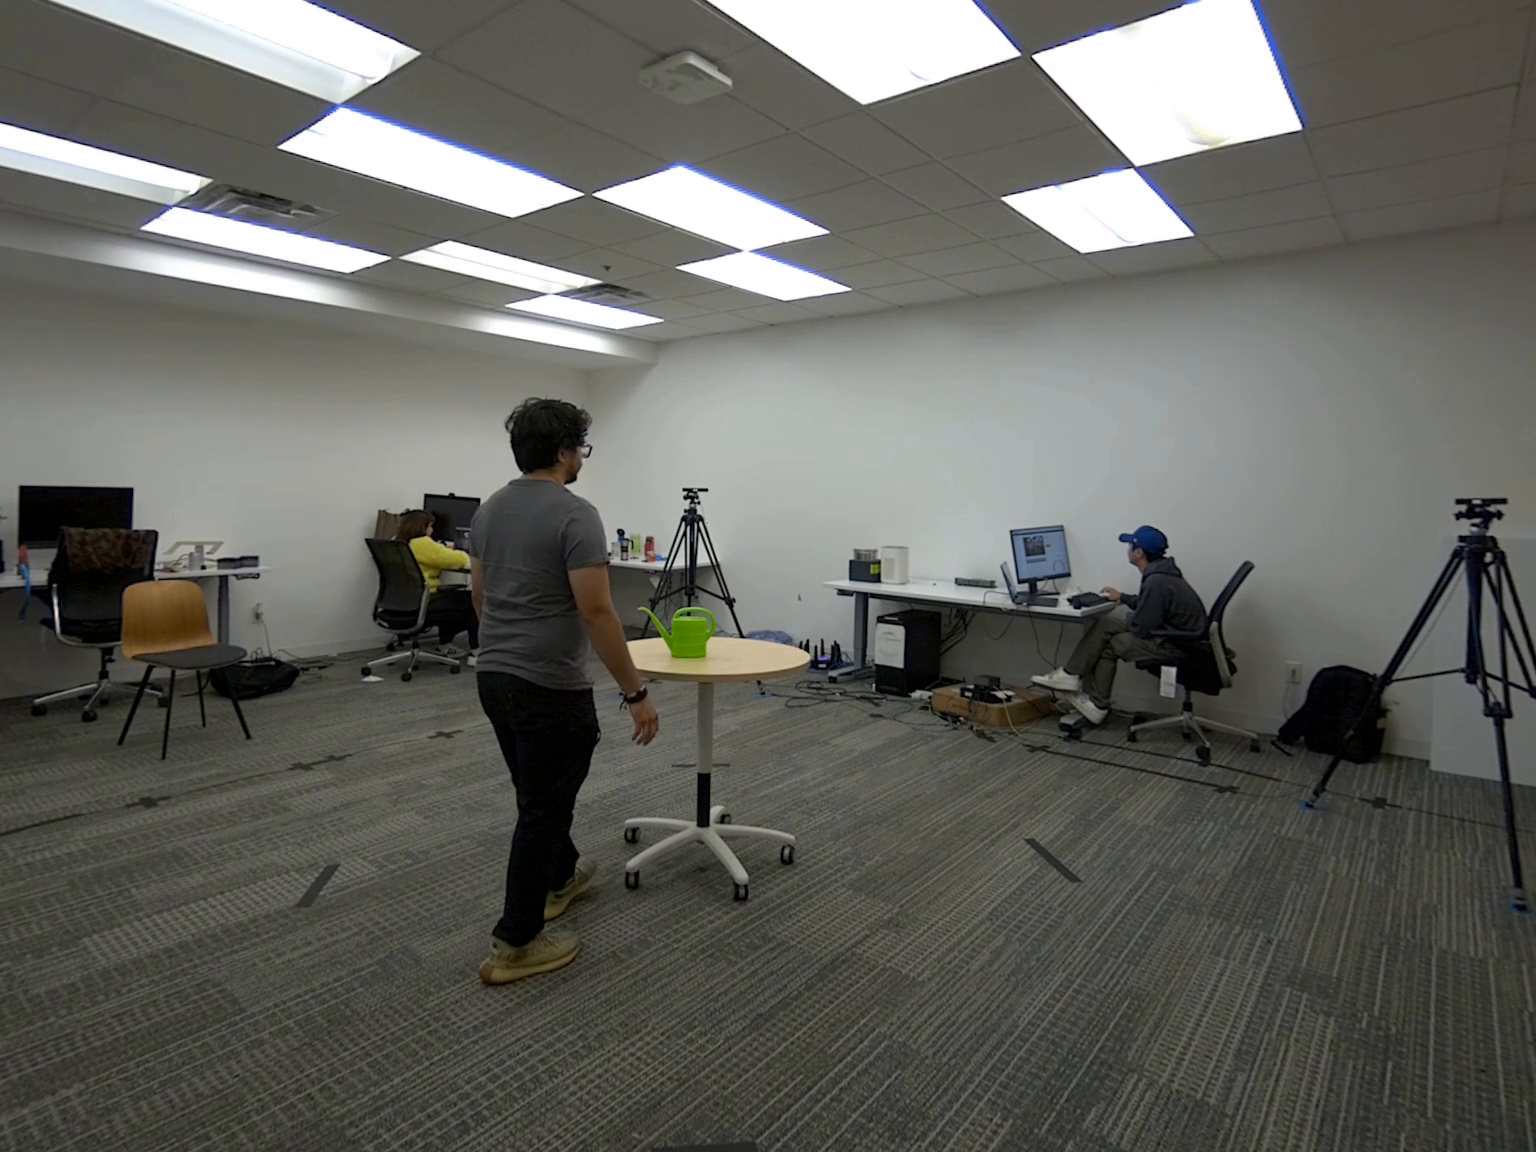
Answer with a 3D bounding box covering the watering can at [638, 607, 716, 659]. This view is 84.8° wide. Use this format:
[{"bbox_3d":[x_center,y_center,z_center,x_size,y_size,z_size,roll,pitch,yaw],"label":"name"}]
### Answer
[{"bbox_3d":[-0.340,0.204,3.084,0.278,0.177,0.098,1,1,-1],"label":"watering can"}]
